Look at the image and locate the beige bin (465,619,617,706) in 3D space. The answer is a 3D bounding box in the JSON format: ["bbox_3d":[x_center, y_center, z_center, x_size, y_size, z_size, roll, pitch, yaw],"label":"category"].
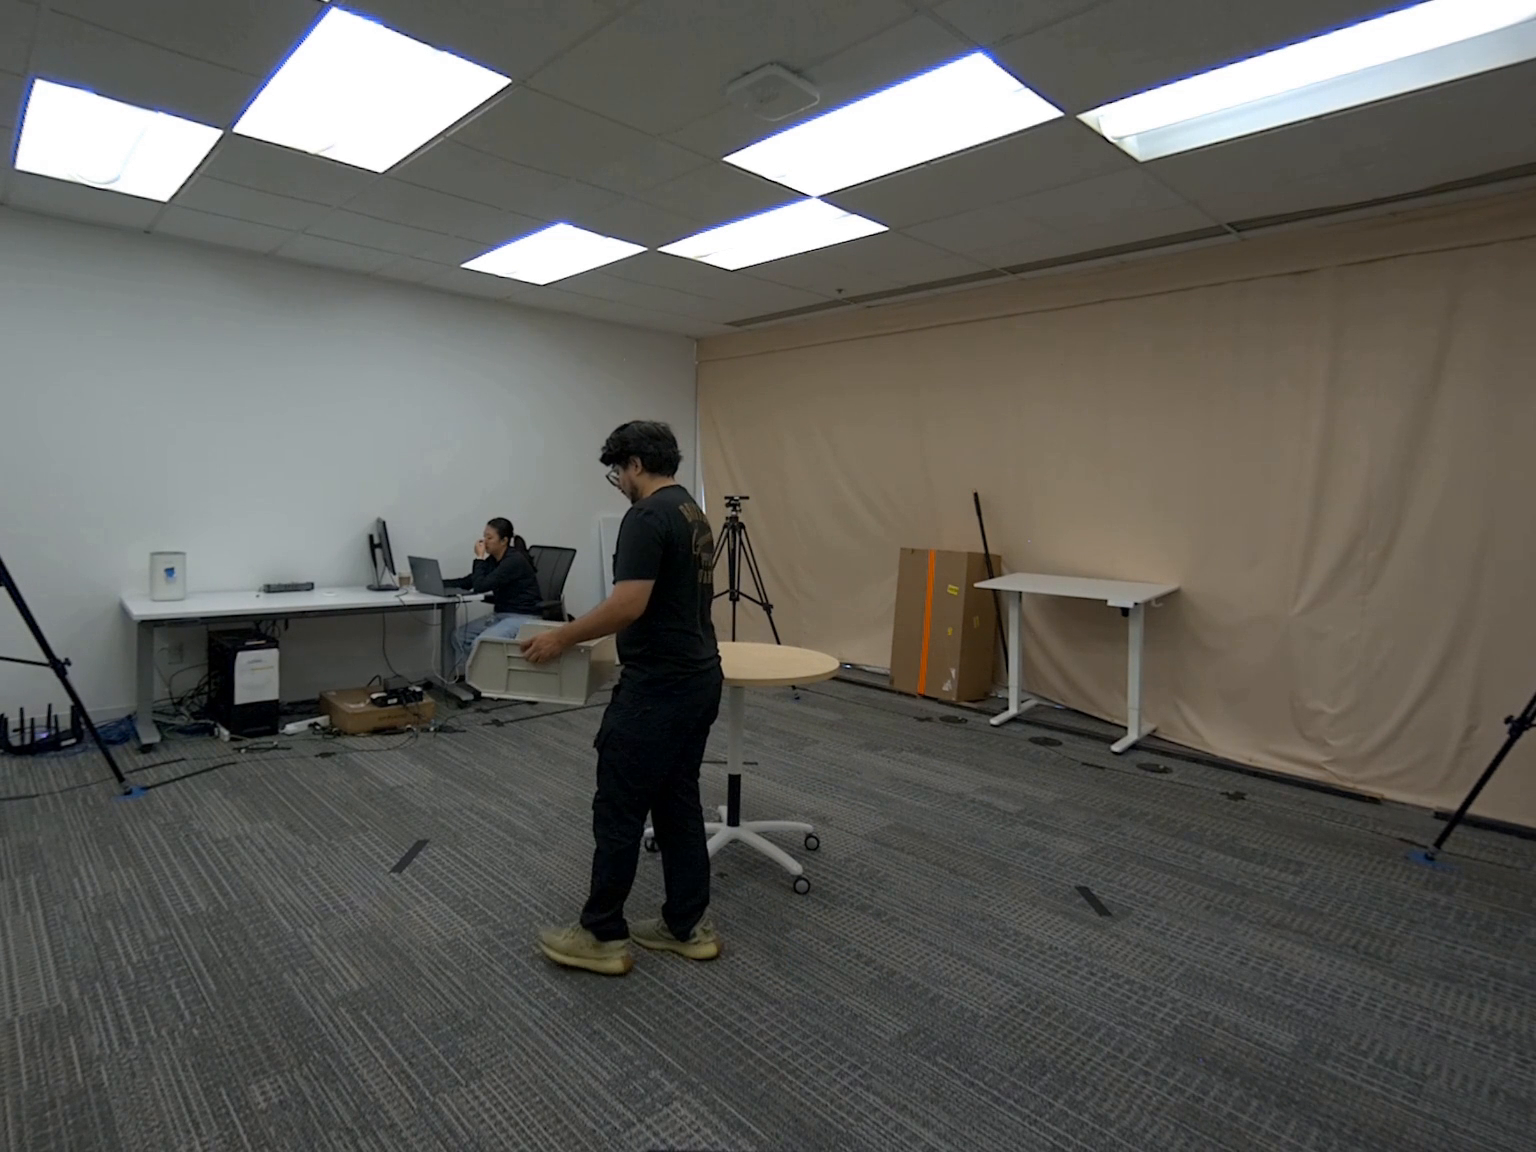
[{"bbox_3d":[-0.712,0.264,2.687,0.379,0.189,0.421,7,3,3],"label":"beige bin"}]
